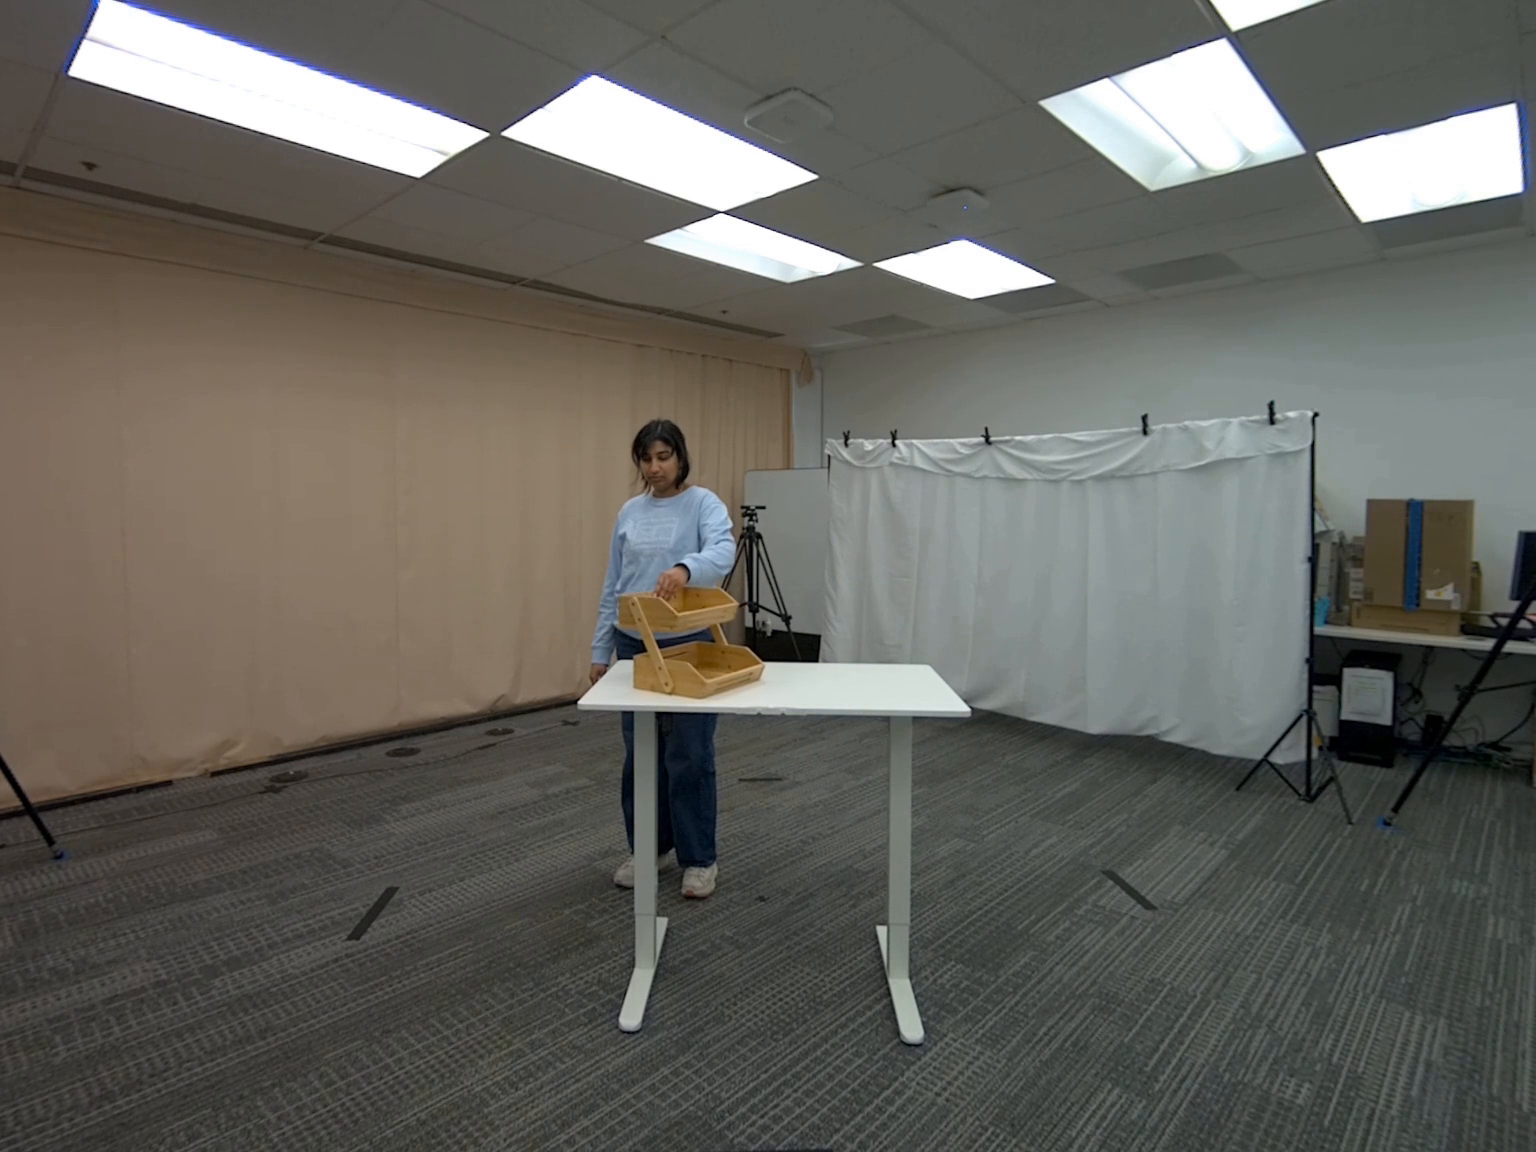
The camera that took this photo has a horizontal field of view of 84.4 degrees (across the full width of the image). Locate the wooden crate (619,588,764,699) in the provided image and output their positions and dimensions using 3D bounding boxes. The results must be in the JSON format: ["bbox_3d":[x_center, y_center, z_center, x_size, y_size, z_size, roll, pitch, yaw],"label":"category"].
[{"bbox_3d":[-0.204,0.176,2.413,0.311,0.273,0.316,1,4,31],"label":"wooden crate"}]
